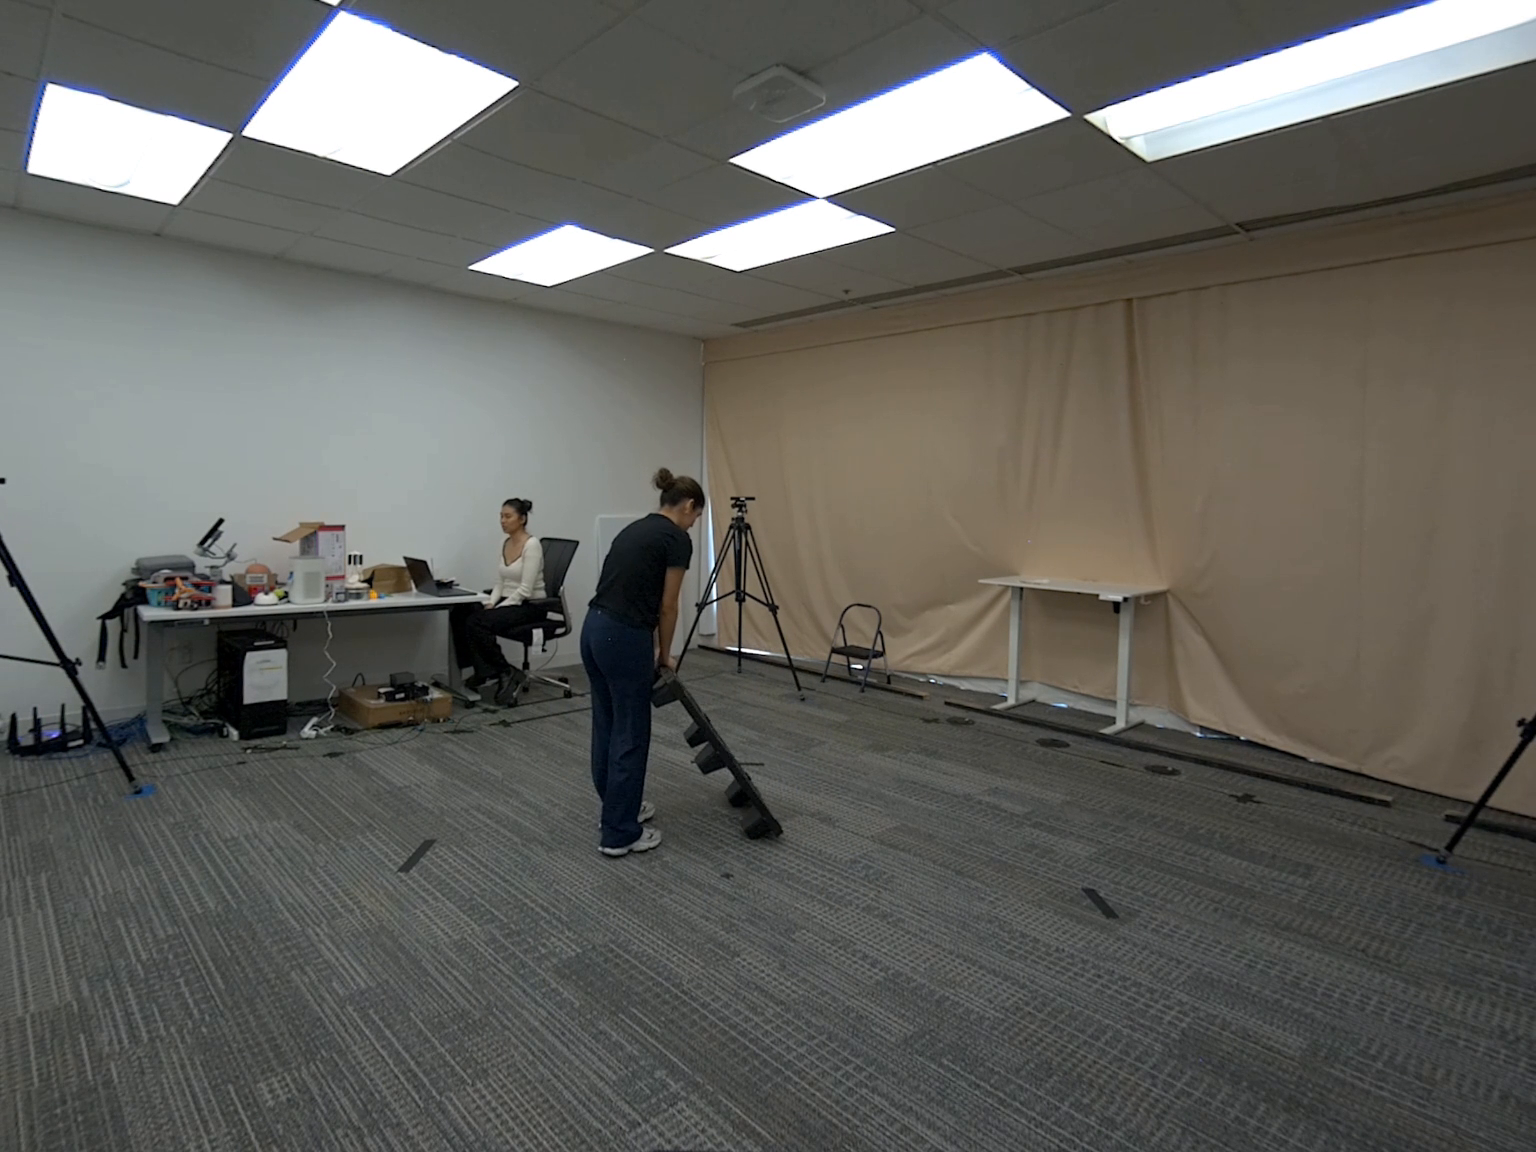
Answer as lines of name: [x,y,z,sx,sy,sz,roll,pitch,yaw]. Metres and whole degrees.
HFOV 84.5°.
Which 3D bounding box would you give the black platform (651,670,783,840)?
black platform: [-0.270,0.725,3.610,0.143,0.799,0.612,-34,9,-8]
